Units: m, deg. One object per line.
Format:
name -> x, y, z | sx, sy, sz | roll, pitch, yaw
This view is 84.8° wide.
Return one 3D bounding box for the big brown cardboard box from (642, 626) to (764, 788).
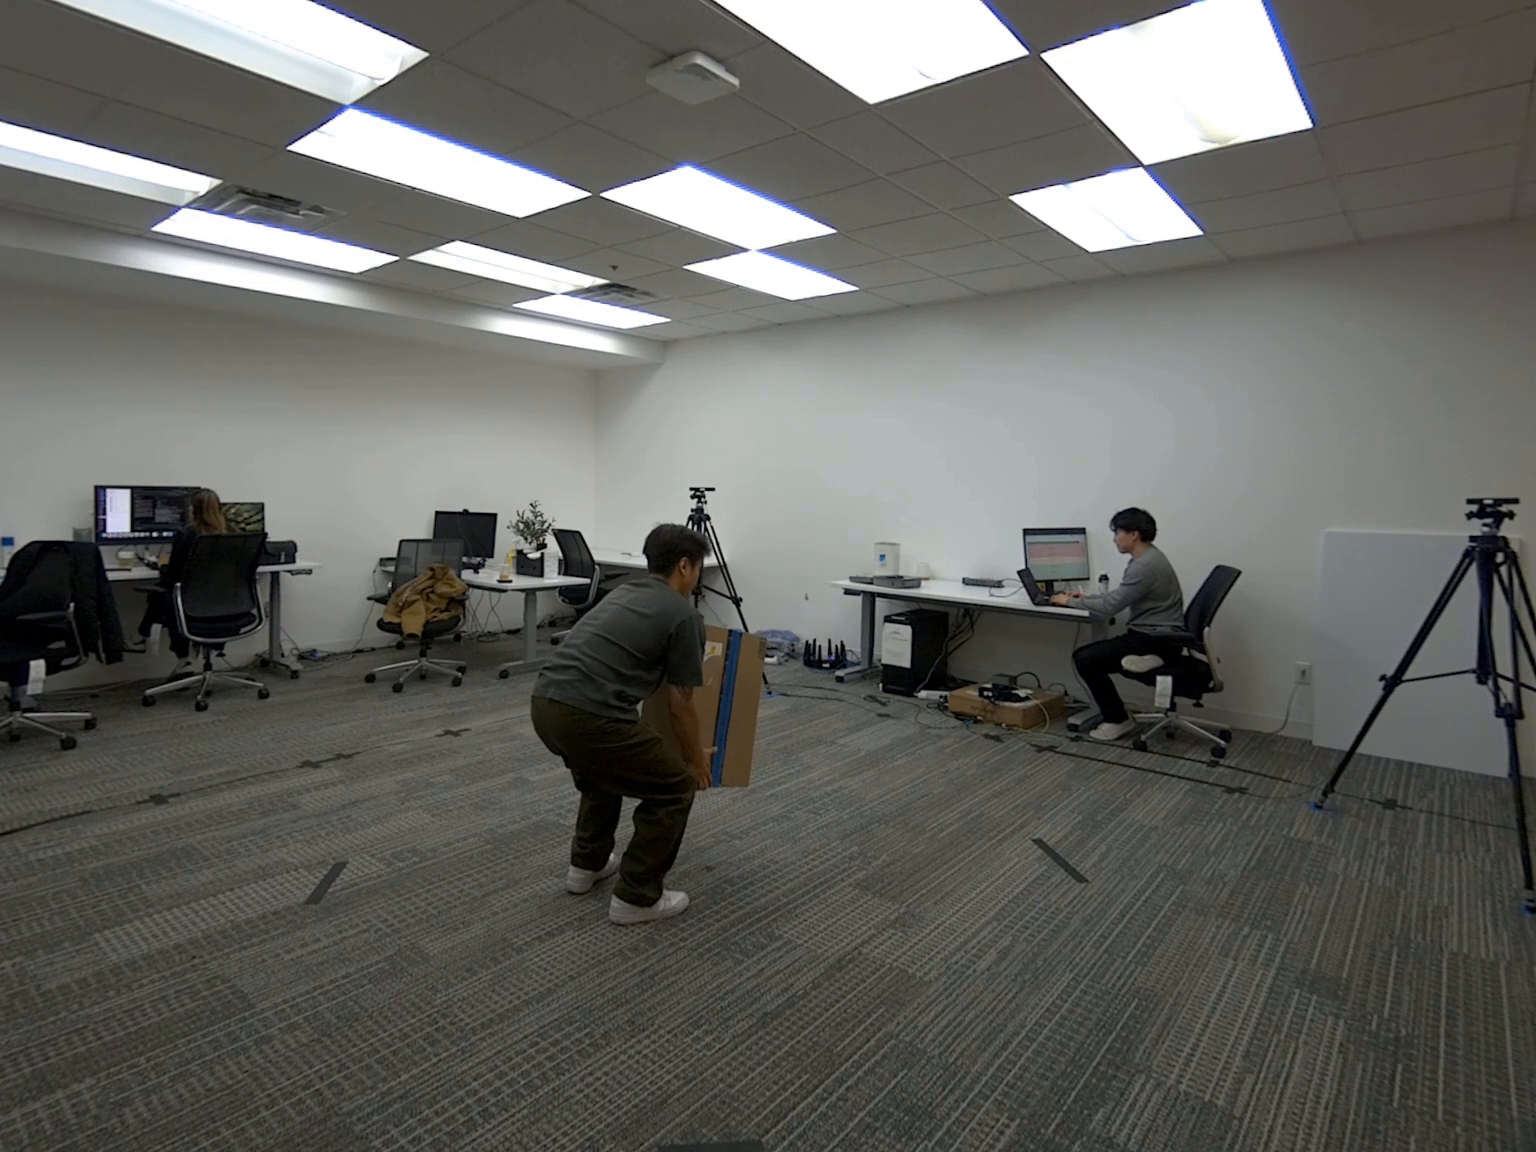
big brown cardboard box -> -0.246, 0.471, 3.159 | 0.241, 0.593, 0.402 | 1, -10, 38
